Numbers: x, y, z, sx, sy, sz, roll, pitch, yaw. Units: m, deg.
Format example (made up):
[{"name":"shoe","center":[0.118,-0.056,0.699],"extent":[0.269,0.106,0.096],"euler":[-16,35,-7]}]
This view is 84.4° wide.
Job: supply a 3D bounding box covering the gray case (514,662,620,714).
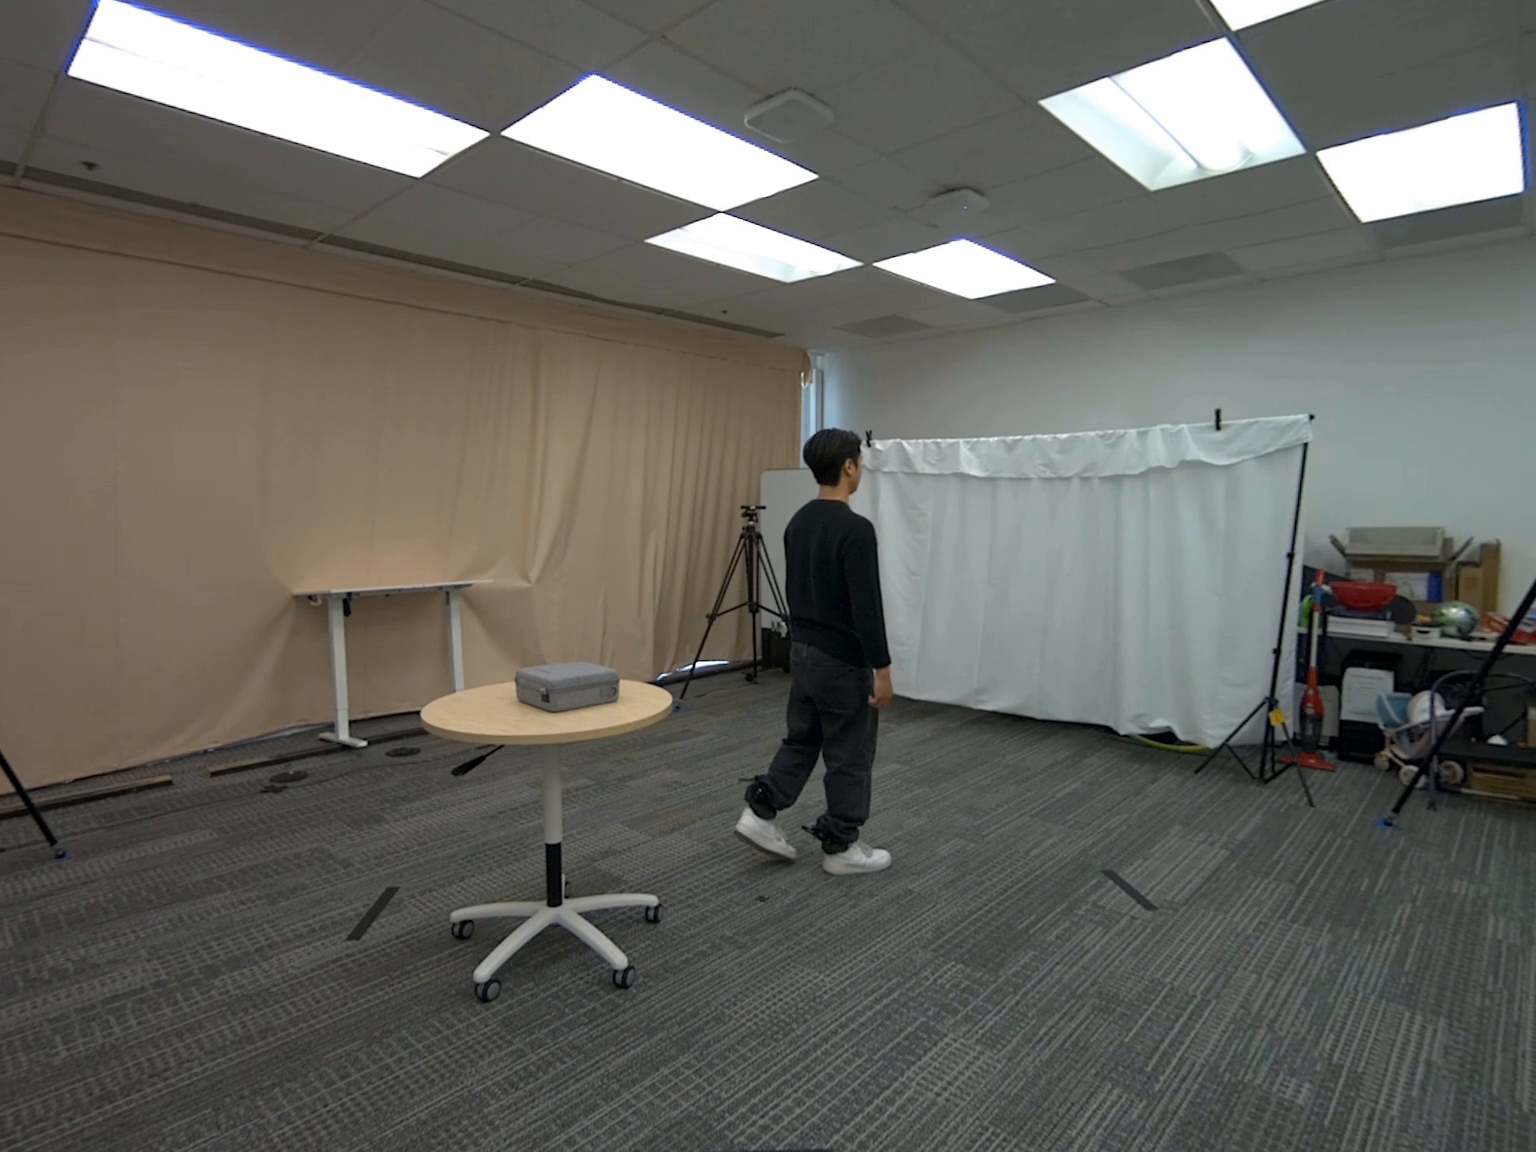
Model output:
[{"name":"gray case","center":[-0.626,0.340,2.638],"extent":[0.253,0.104,0.265],"euler":[-4,4,-42]}]
